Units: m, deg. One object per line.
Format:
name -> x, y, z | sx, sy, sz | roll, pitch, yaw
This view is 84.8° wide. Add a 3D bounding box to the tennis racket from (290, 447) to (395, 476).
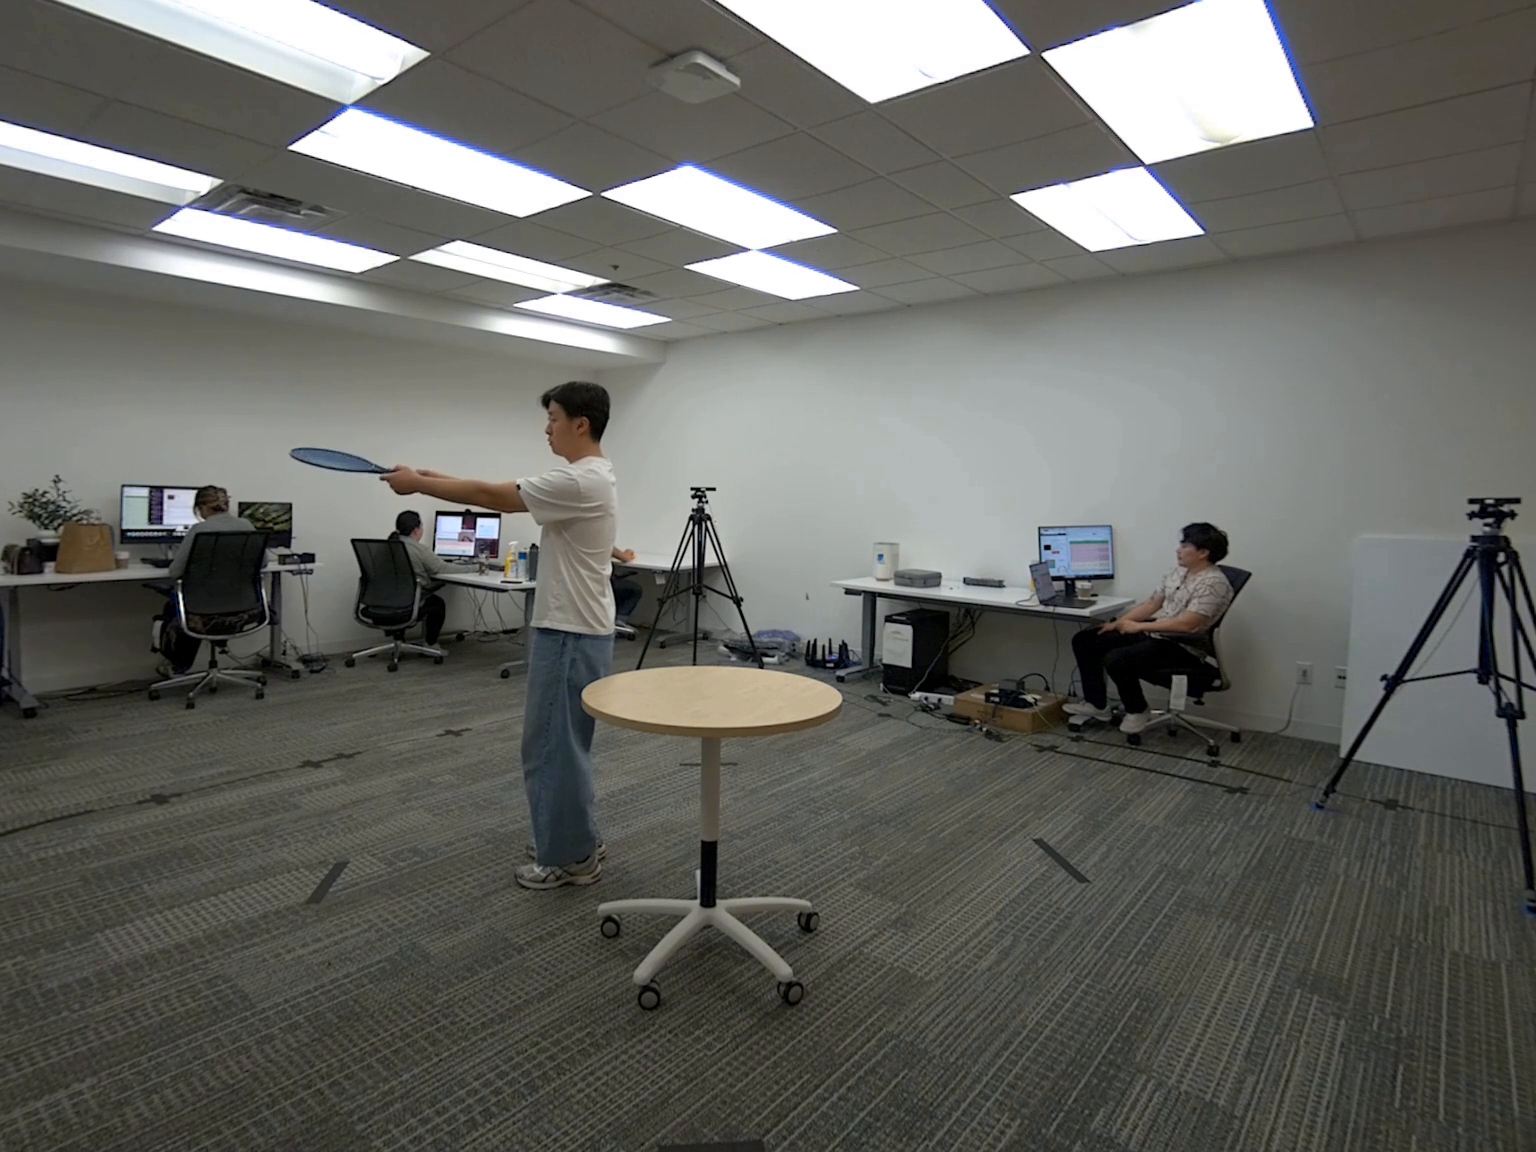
tennis racket -> -1.404, -0.373, 2.864 | 0.429, 0.031, 0.217 | 14, 13, -7
